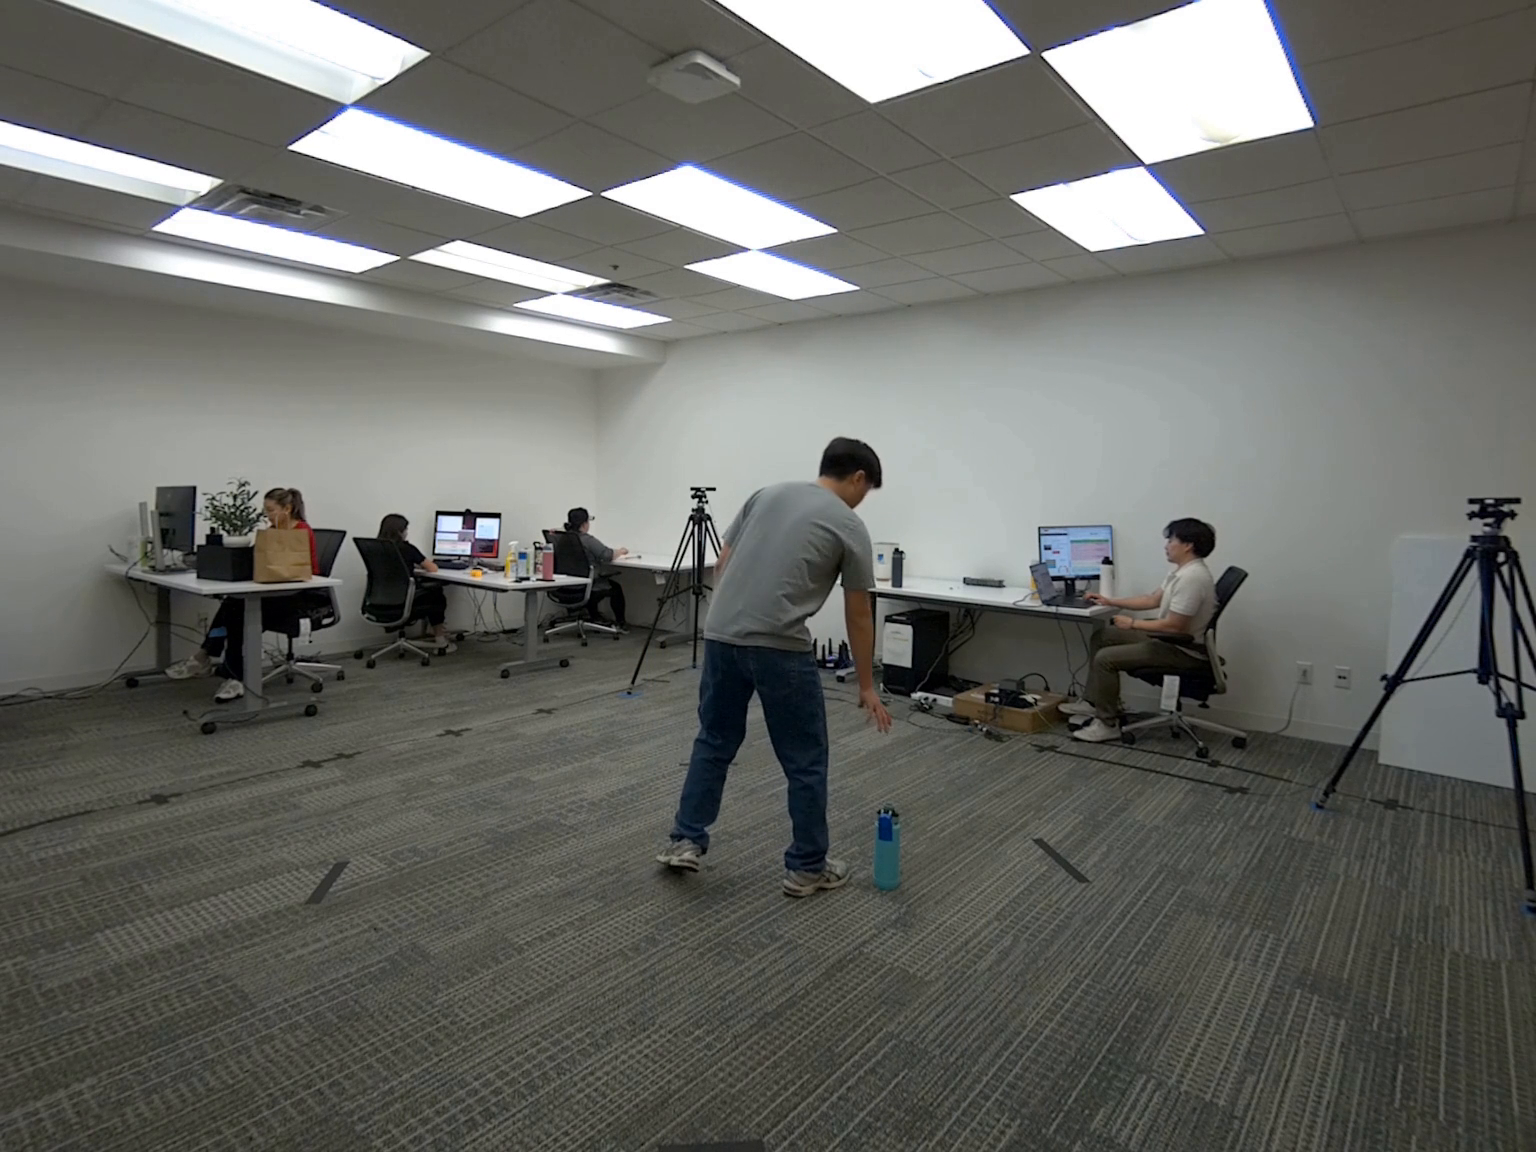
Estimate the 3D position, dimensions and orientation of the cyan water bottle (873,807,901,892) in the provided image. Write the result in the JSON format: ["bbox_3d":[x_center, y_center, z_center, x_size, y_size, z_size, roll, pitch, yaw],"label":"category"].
[{"bbox_3d":[0.416,0.956,3.002,0.092,0.282,0.093,0,6,-2],"label":"cyan water bottle"}]
